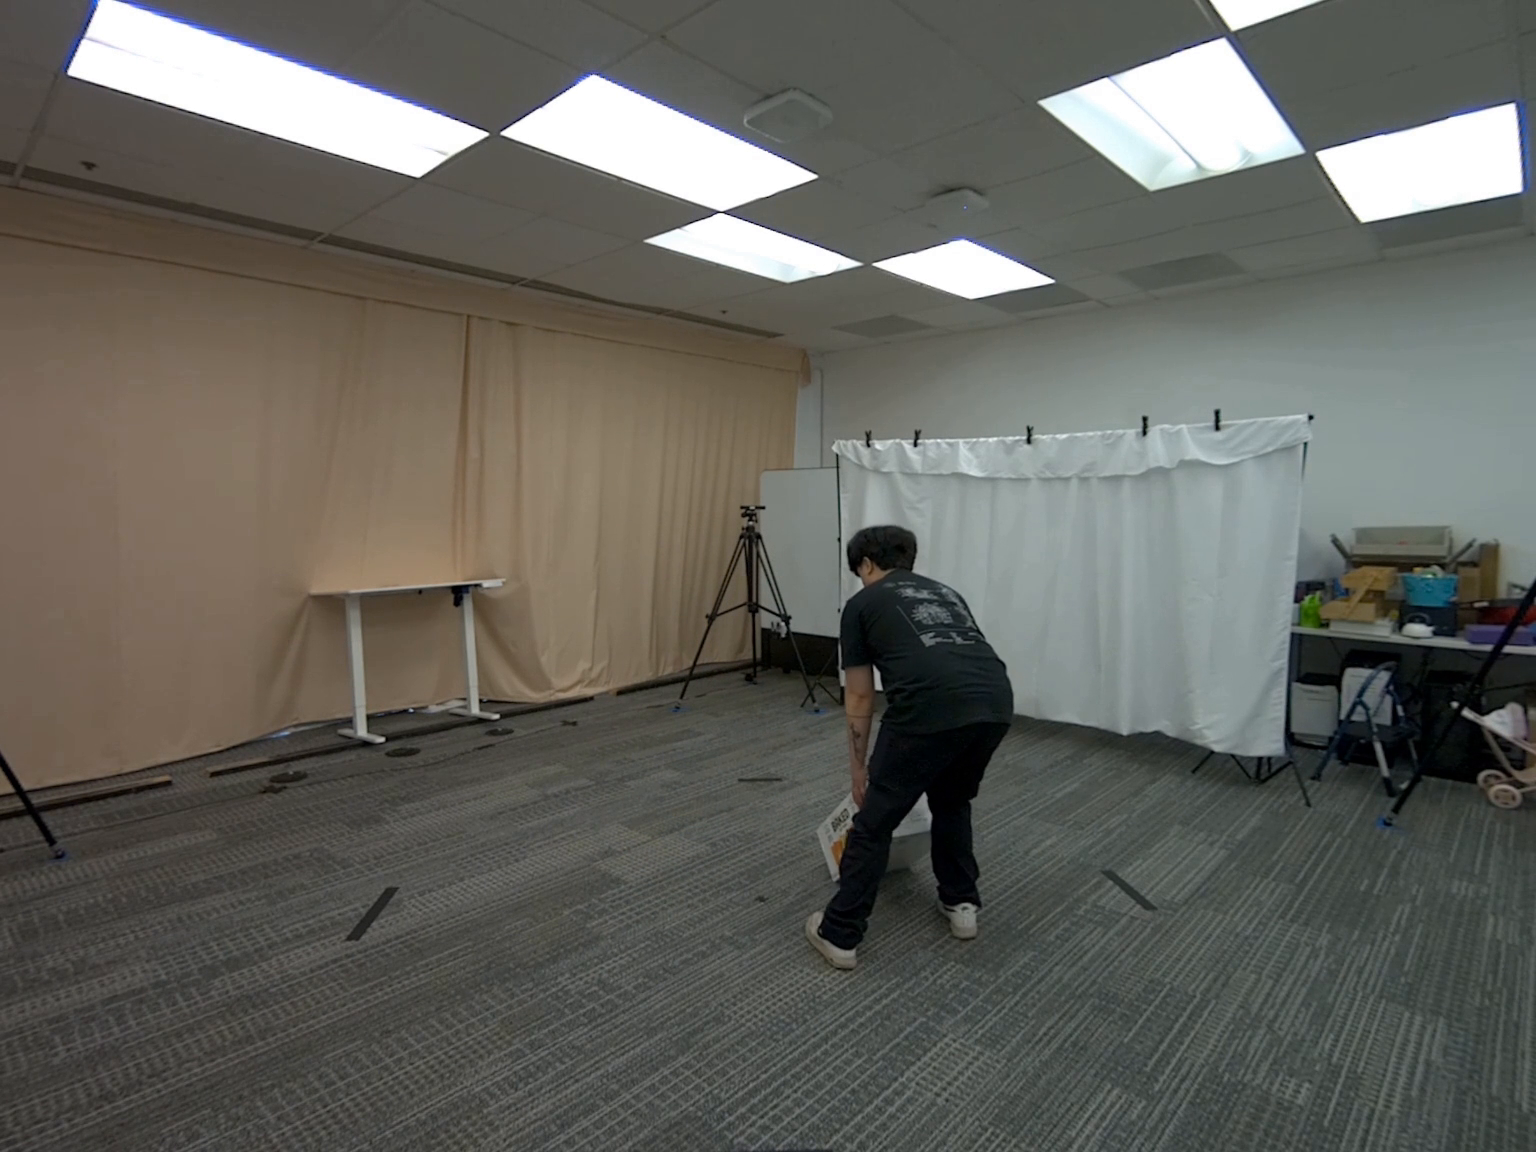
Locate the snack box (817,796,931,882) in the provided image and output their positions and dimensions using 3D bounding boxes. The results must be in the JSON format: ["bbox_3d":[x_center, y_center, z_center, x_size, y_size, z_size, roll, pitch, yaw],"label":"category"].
[{"bbox_3d":[0.434,0.927,3.091,0.333,0.211,0.403,-1,-38,-23],"label":"snack box"}]
